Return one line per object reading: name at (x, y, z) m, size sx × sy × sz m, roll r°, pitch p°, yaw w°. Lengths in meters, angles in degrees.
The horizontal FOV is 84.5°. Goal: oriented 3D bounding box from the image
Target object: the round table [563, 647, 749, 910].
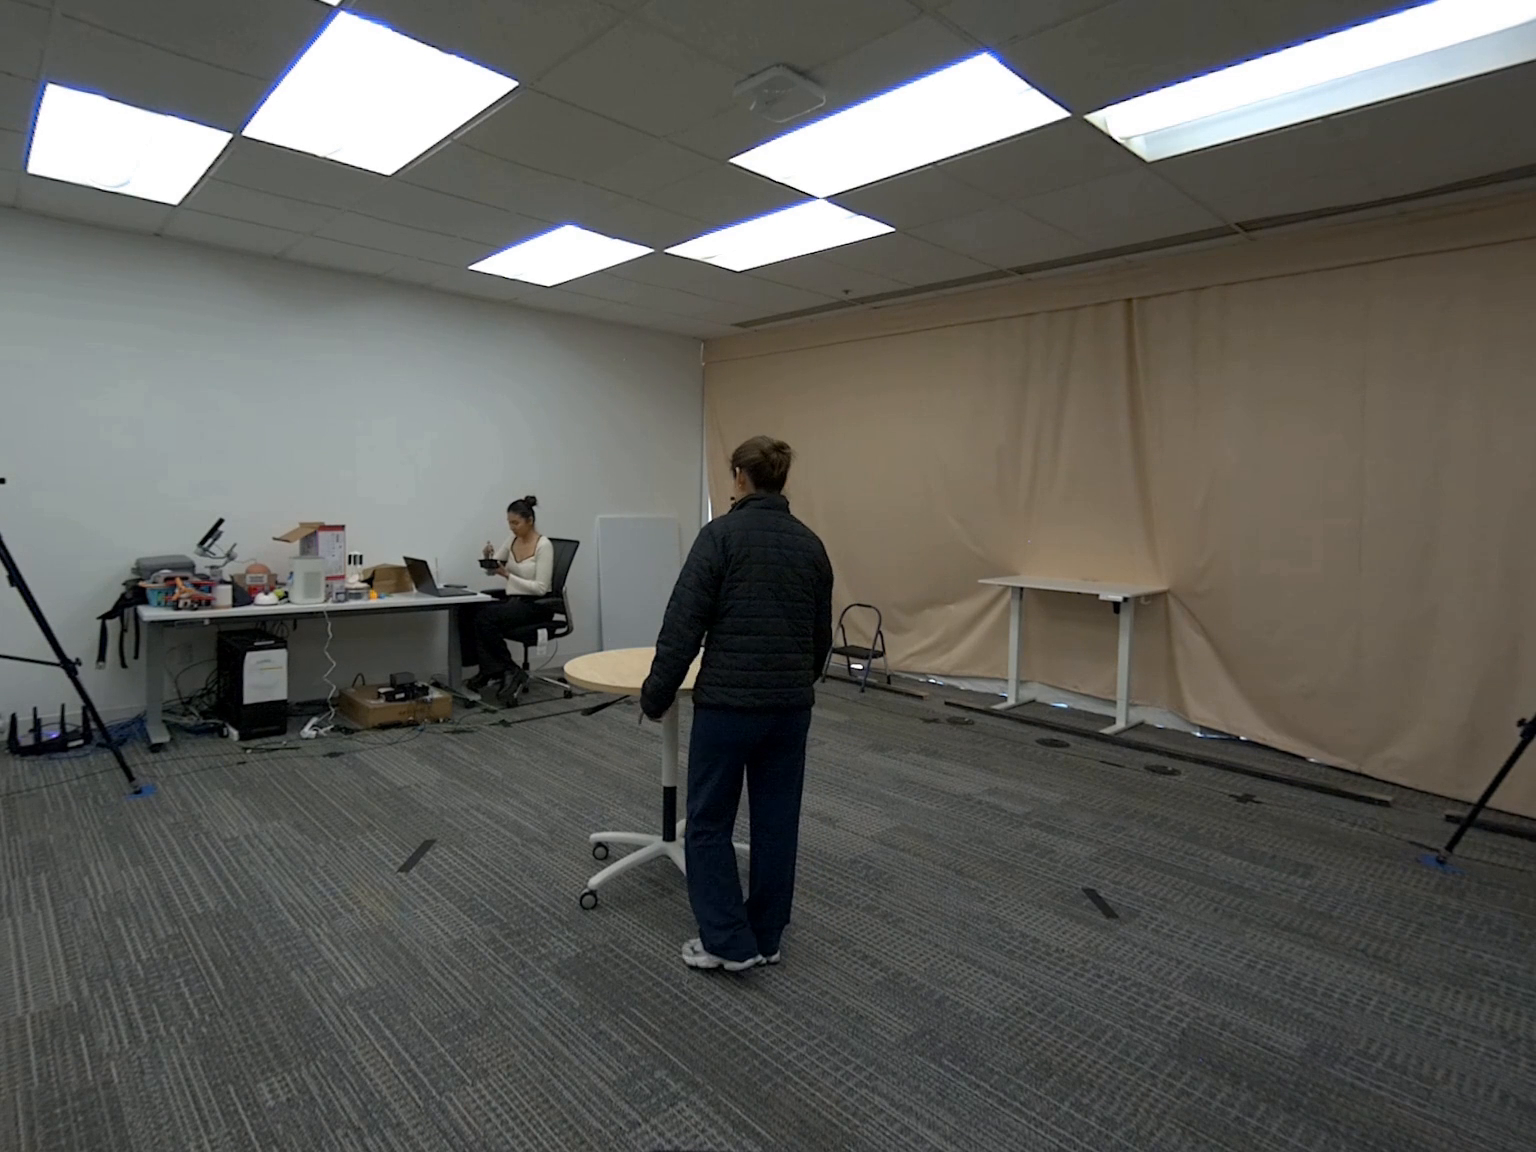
round table at (-0.358, 0.718, 3.032) m, size 0.784 × 0.785 × 0.787 m, roll 0°, pitch 4°, yaw -1°
